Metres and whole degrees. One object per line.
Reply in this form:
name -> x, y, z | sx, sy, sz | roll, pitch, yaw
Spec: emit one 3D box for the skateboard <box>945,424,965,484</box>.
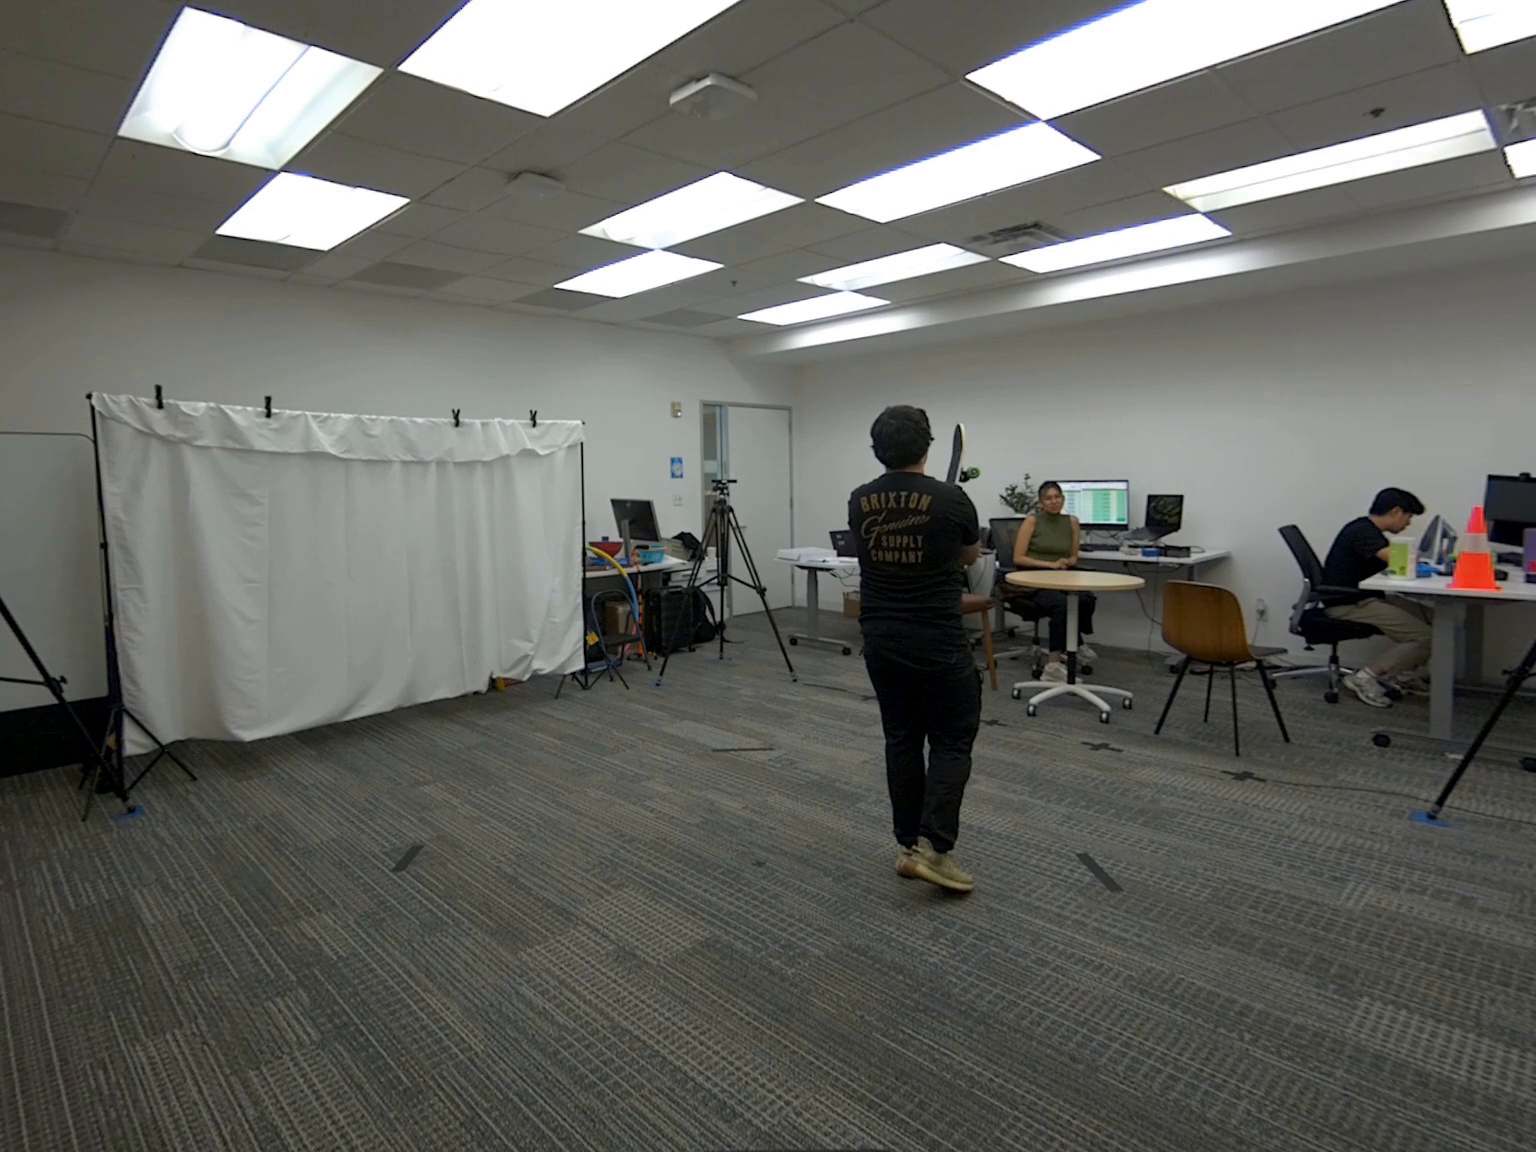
skateboard -> 0.744, -0.221, 3.486 | 0.110, 0.786, 0.193 | 12, -2, -1
